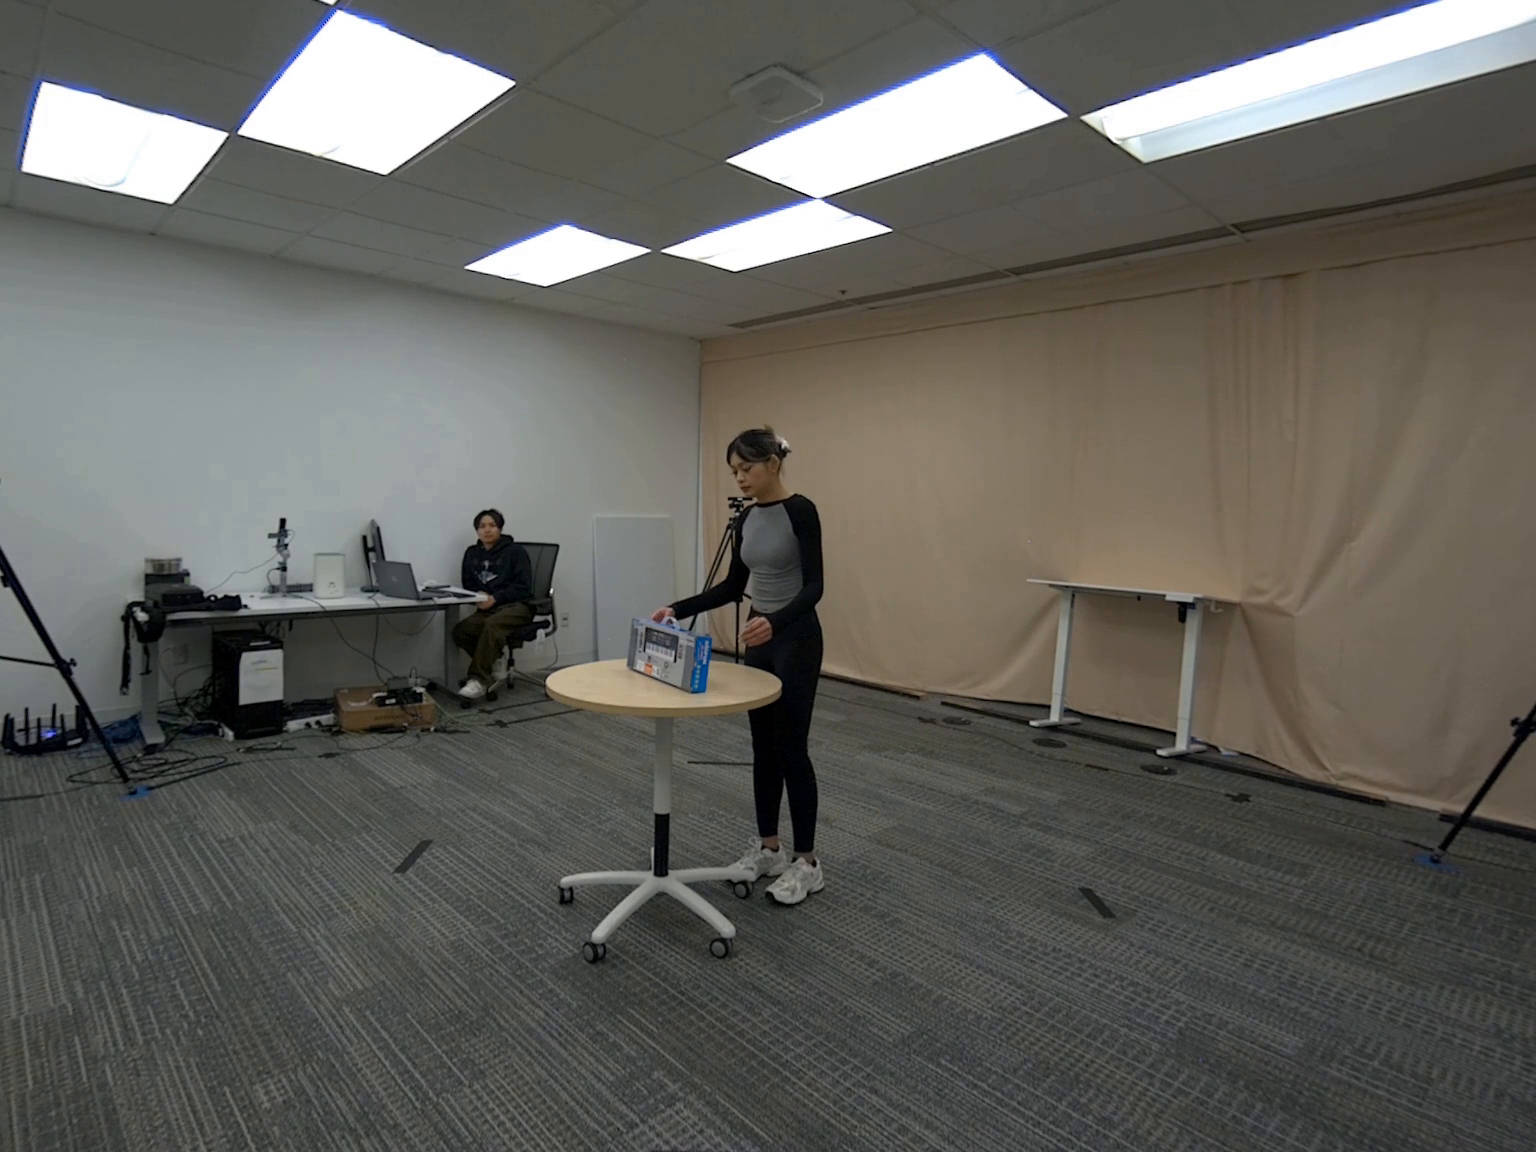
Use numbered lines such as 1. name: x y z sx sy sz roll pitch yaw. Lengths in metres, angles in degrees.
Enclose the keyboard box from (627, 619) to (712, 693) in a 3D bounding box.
1. keyboard box: -0.338 0.256 2.759 0.058 0.176 0.448 7 1 -35
